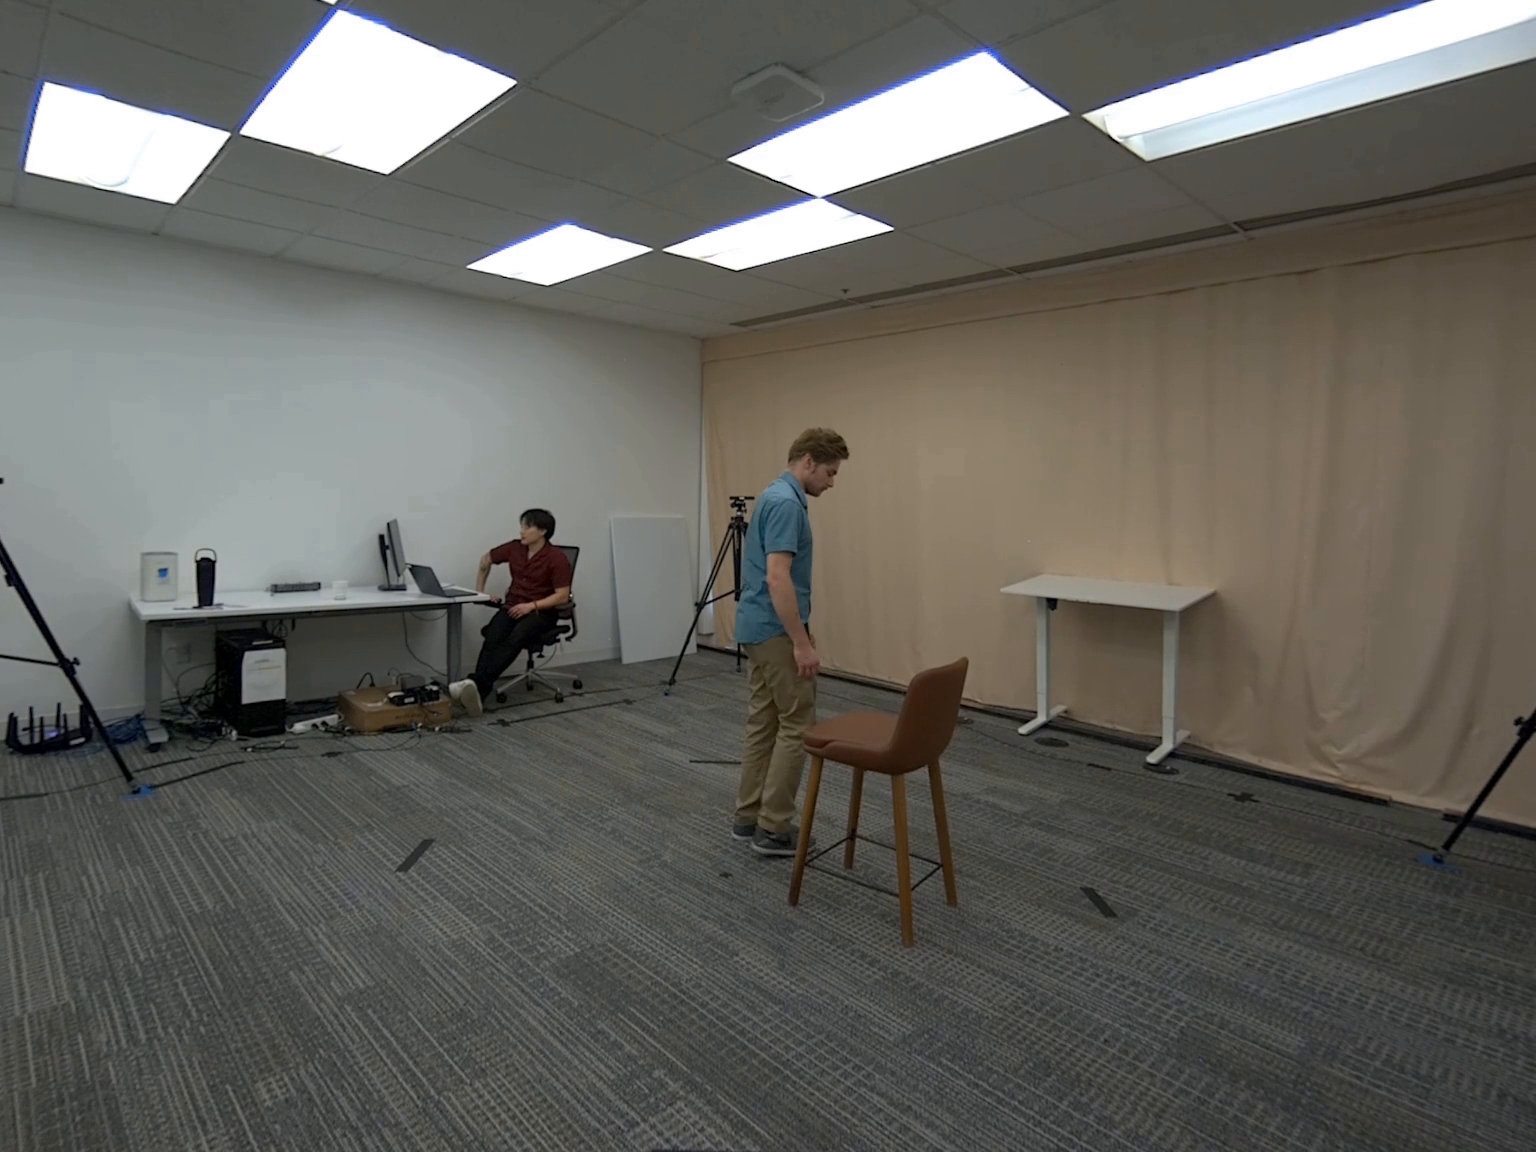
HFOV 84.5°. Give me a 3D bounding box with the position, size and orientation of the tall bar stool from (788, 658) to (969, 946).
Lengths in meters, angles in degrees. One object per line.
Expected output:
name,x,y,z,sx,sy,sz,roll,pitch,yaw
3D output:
tall bar stool,0.380,0.703,2.876,0.479,0.886,0.447,7,6,36
